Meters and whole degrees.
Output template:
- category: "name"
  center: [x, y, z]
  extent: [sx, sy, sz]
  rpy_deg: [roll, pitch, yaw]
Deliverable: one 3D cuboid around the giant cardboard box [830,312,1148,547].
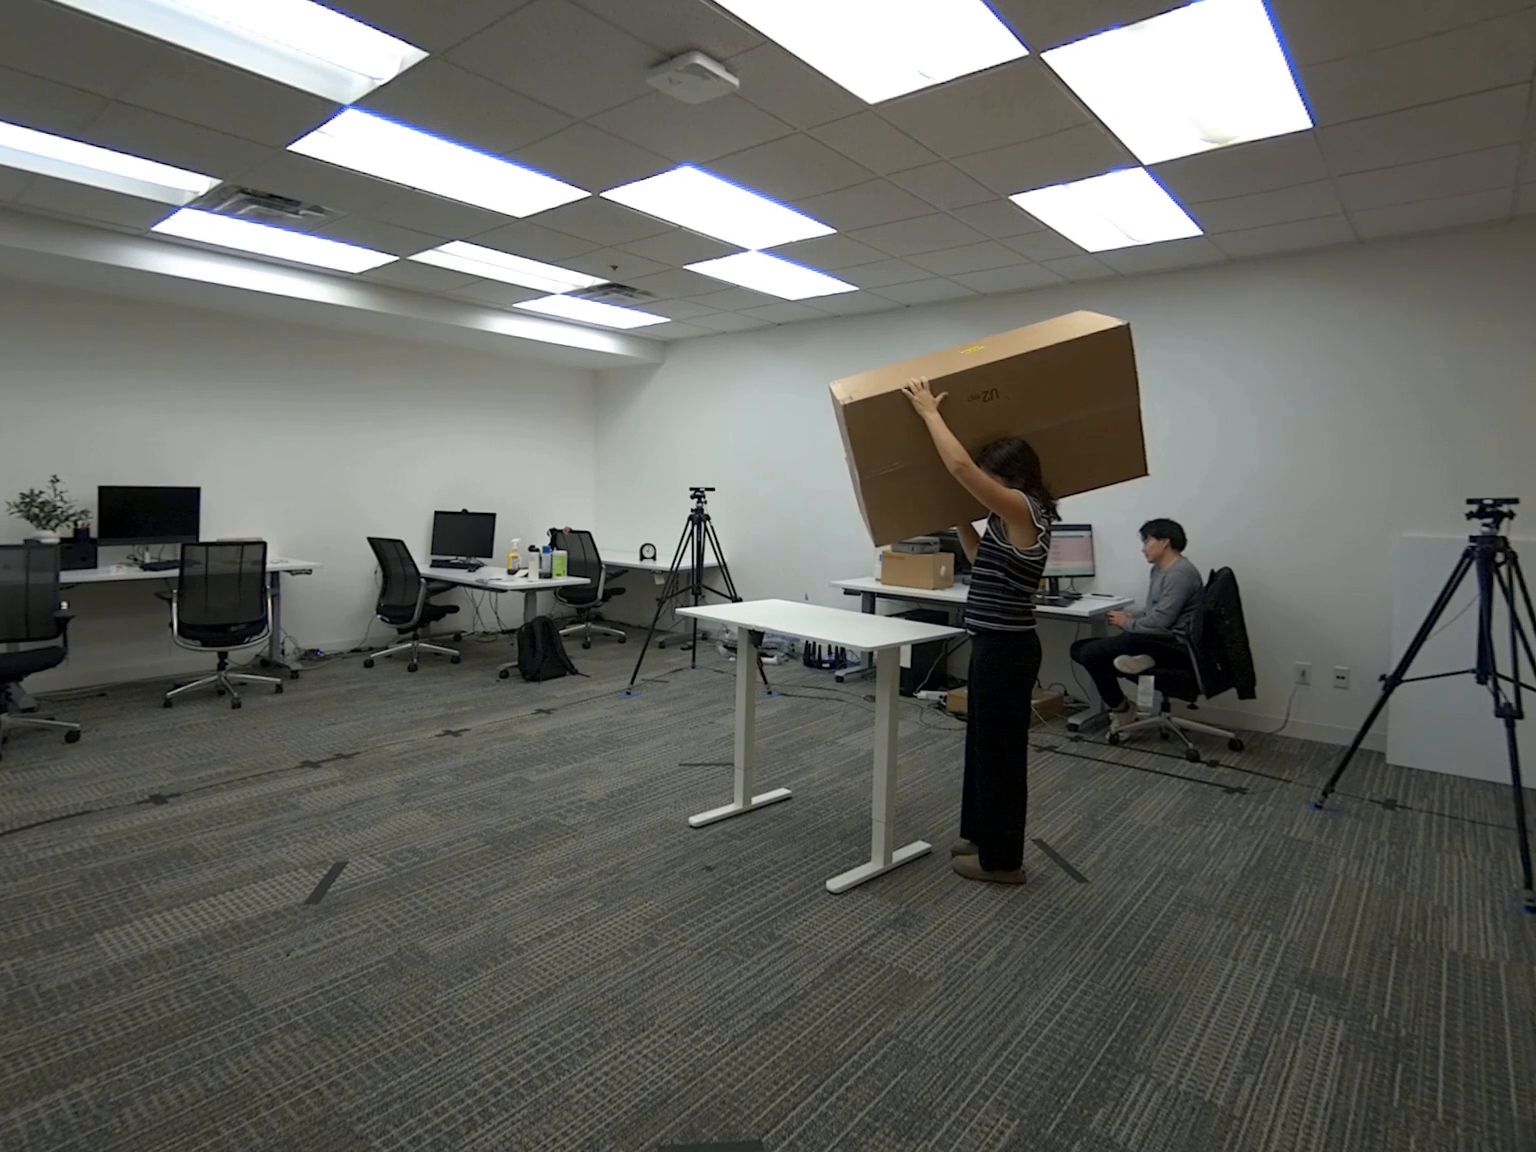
- category: "giant cardboard box"
  center: [0.809, -0.573, 3.267]
  extent: [1.031, 0.564, 0.434]
  rpy_deg: [-15, 21, 6]
